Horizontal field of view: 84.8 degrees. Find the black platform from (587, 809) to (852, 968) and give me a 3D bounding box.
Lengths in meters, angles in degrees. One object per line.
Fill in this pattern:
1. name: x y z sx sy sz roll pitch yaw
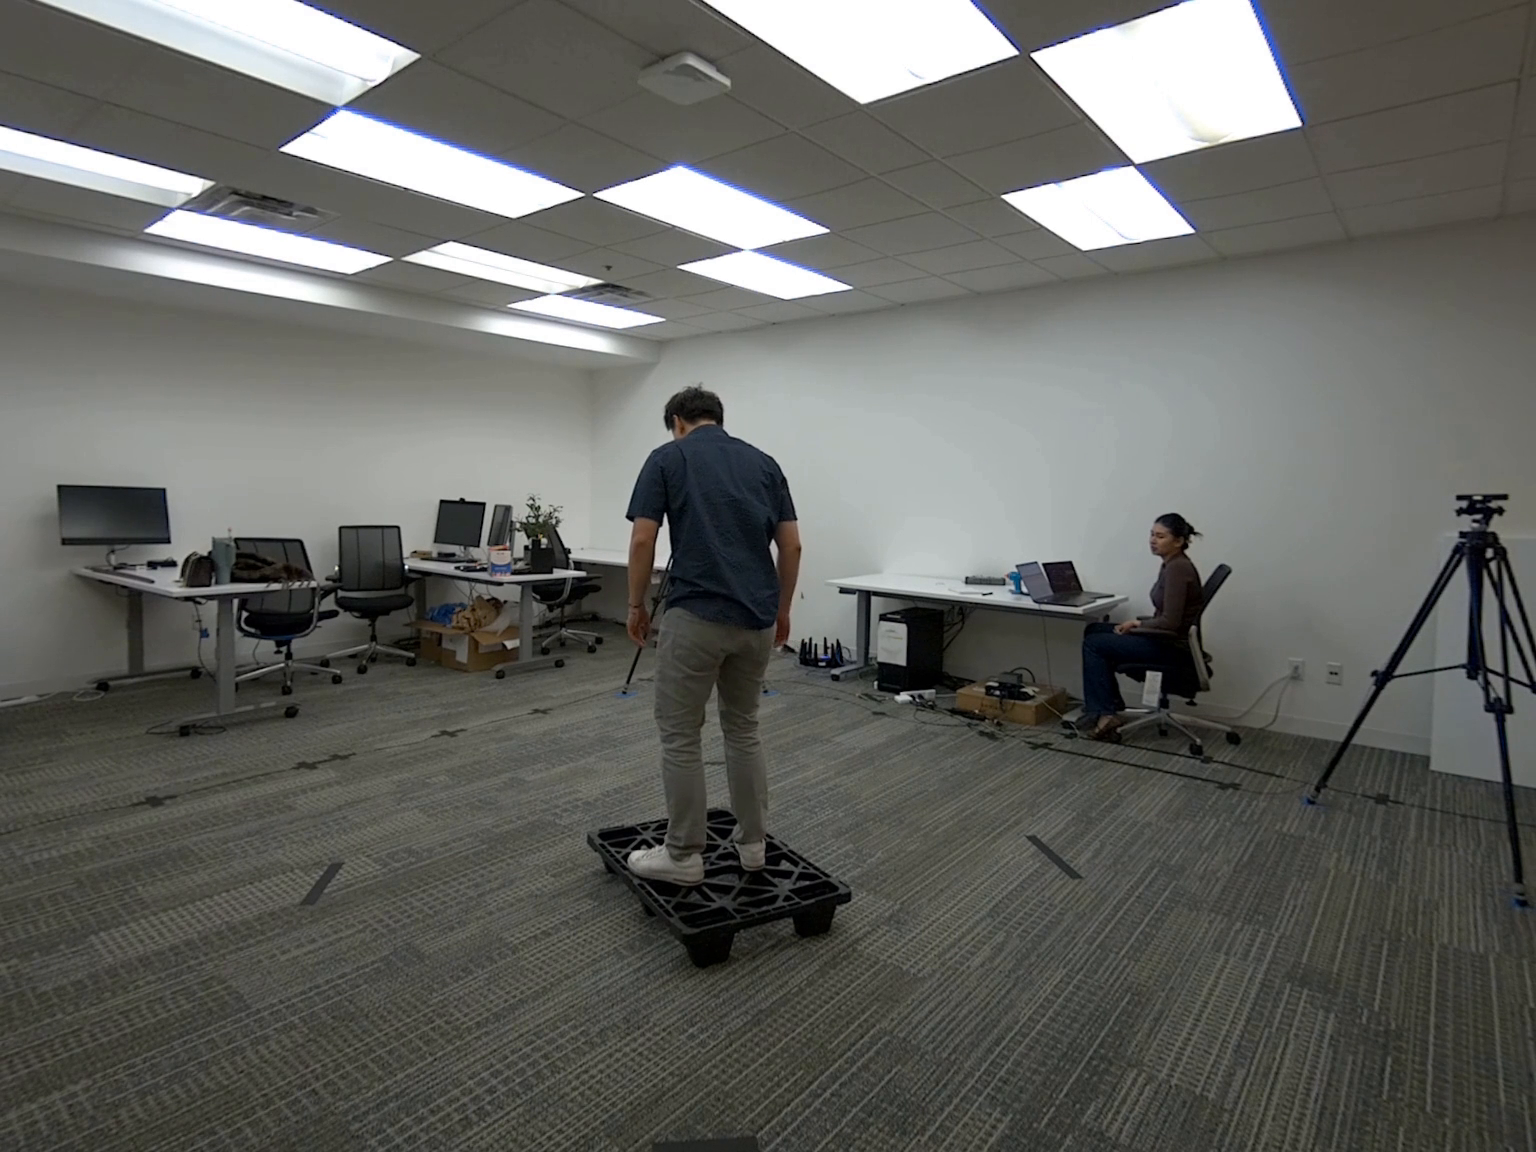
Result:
1. black platform: -0.206 1.020 2.874 0.589 0.143 0.830 -3 7 -31
